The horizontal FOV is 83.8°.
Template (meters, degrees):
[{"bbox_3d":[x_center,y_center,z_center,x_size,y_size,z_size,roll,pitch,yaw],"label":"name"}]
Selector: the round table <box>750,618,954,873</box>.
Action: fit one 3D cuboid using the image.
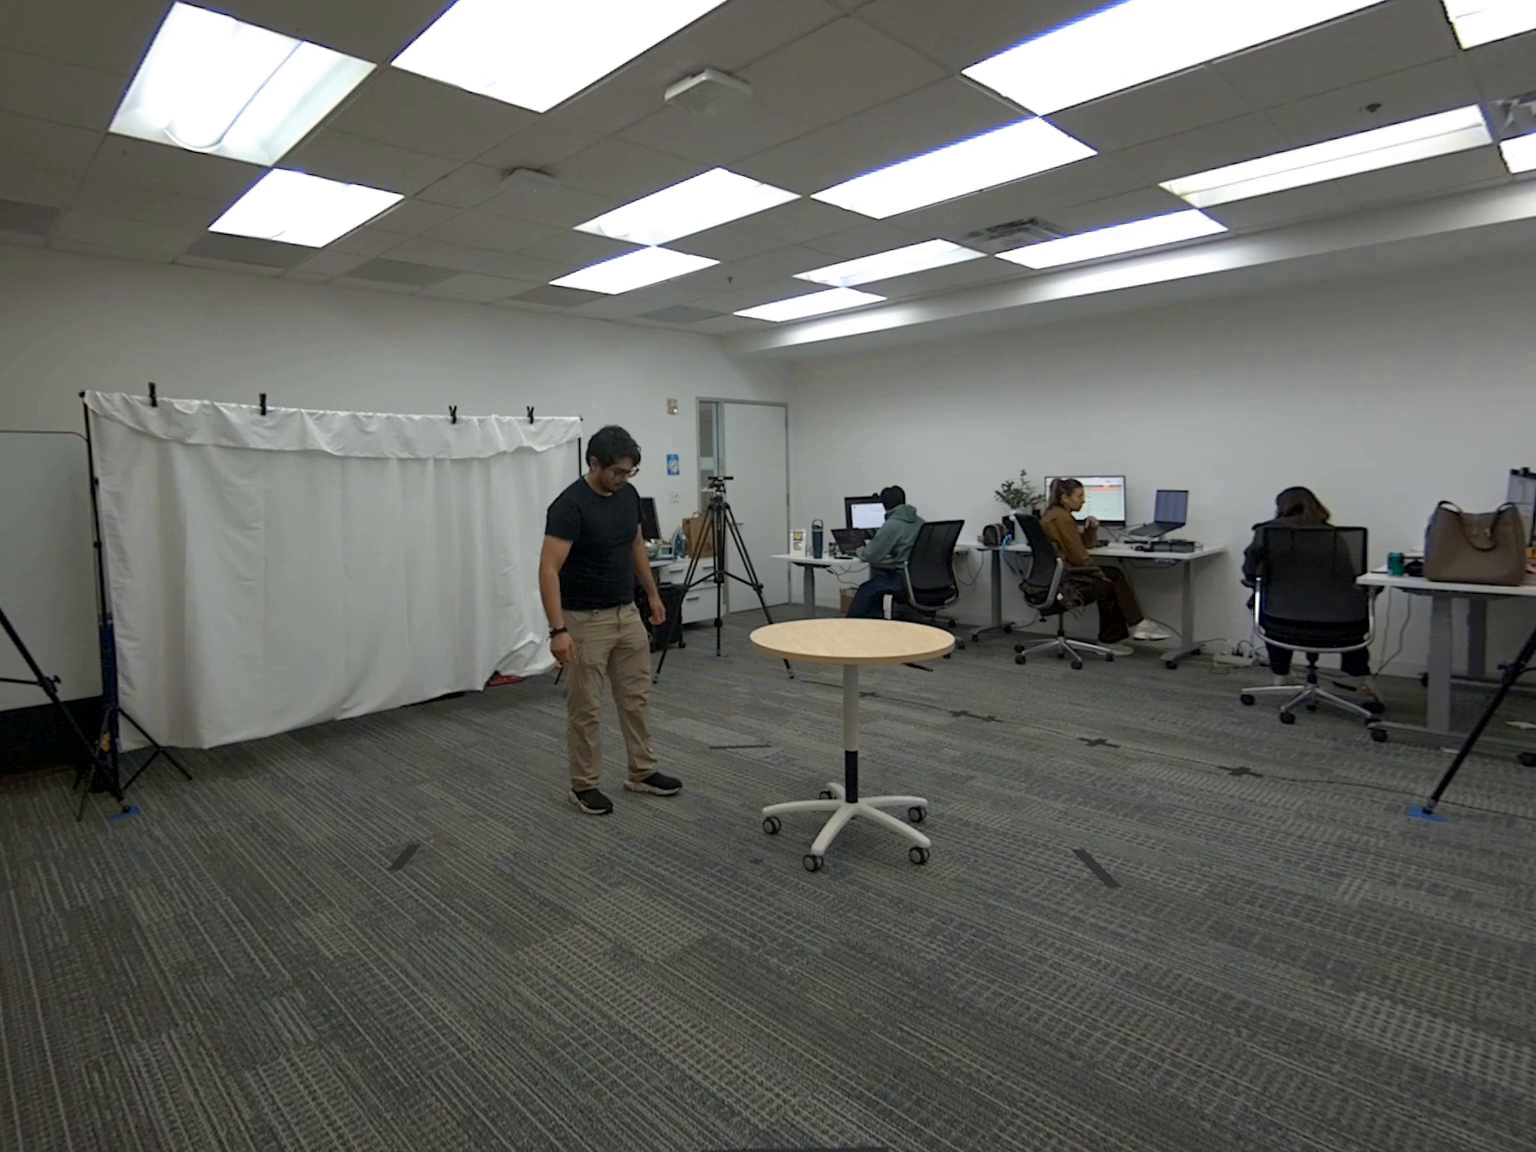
[{"bbox_3d":[0.304,0.614,3.280,0.784,0.783,0.789,-1,5,-2],"label":"round table"}]
